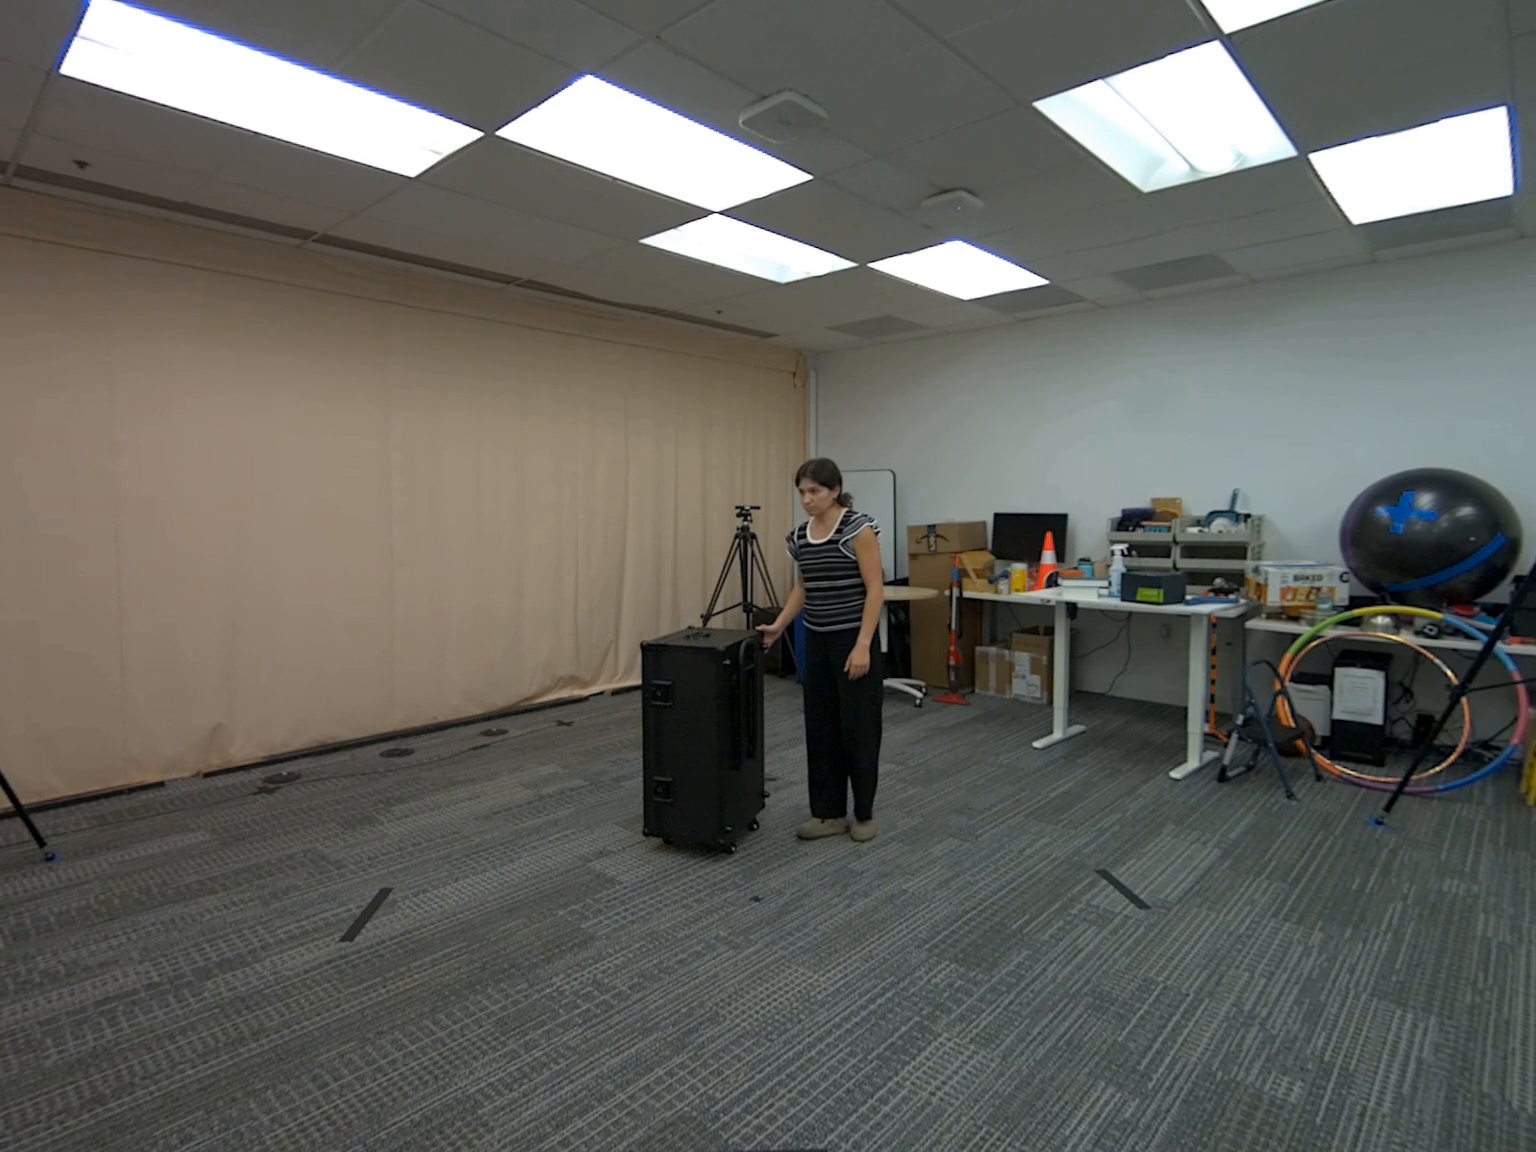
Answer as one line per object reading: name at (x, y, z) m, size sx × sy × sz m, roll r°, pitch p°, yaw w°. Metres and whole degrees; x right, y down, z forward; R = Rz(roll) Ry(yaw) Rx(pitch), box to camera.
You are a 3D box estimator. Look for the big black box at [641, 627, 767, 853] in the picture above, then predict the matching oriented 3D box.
big black box at (-0.243, 0.677, 3.523) m, size 0.405 × 0.860 × 0.510 m, roll 1°, pitch 3°, yaw 21°
